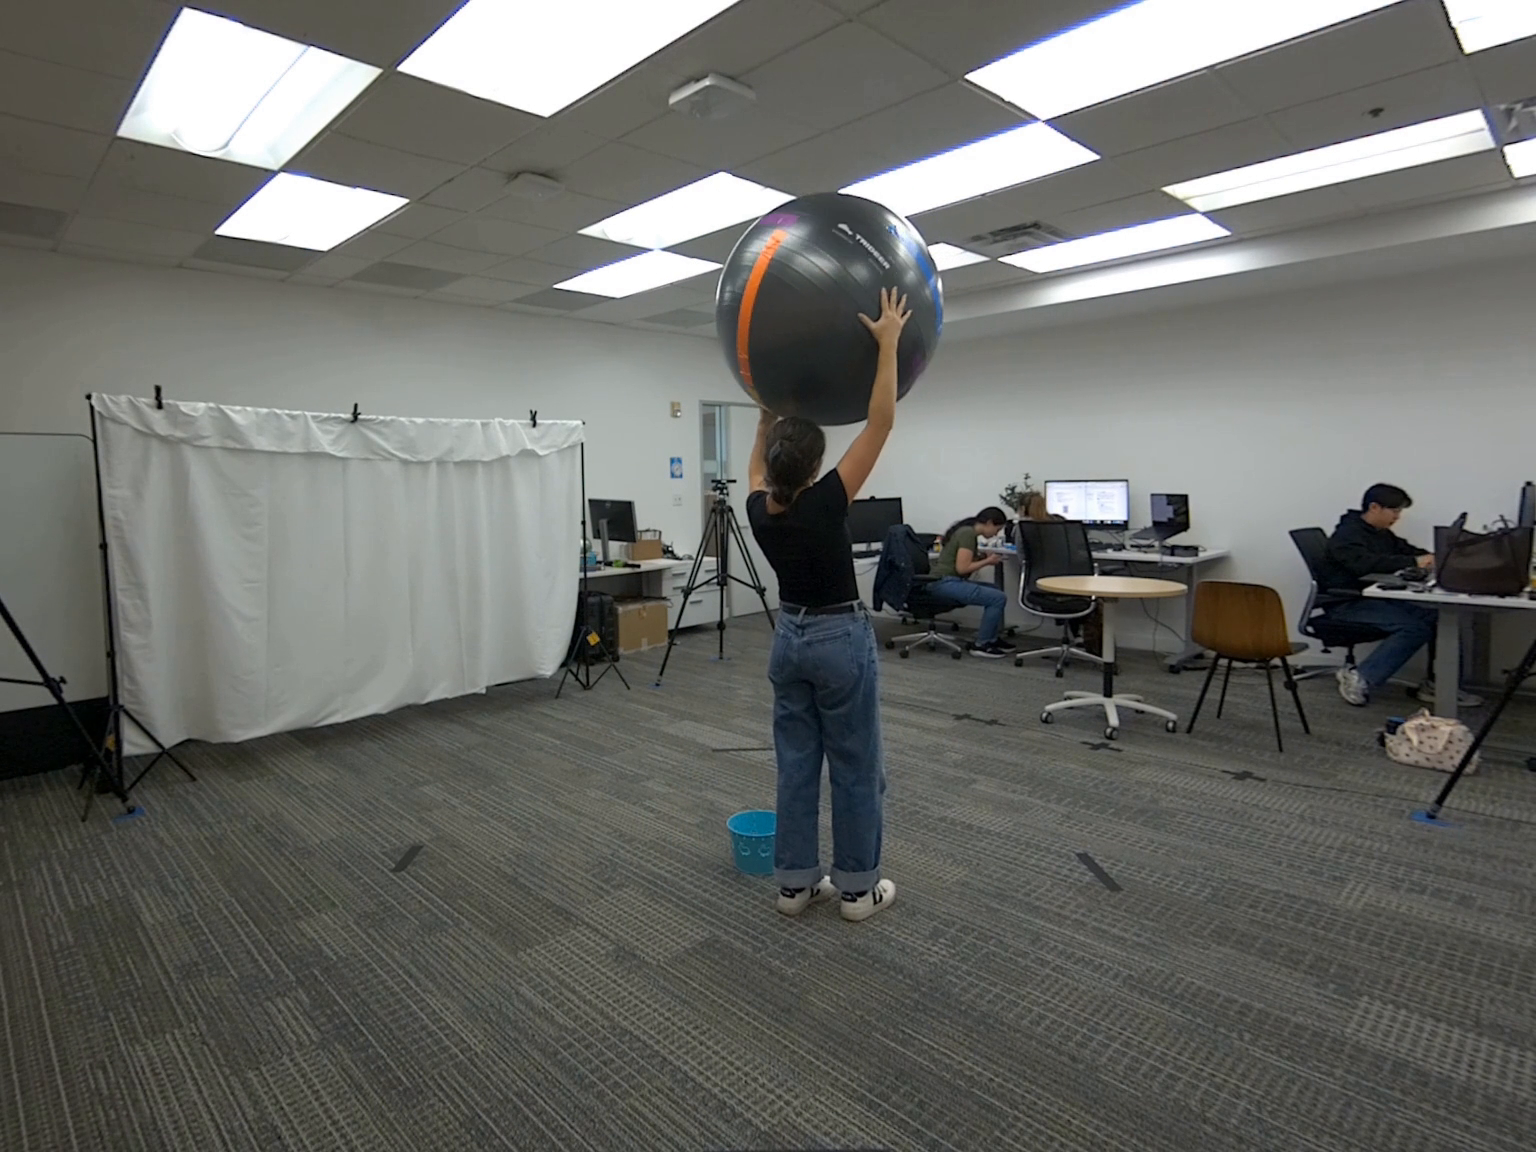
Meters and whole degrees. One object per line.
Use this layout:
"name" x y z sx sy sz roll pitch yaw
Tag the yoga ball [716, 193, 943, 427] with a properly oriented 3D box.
"yoga ball" 0.204 -0.880 2.876 0.757 0.755 0.762 -1 5 -2
